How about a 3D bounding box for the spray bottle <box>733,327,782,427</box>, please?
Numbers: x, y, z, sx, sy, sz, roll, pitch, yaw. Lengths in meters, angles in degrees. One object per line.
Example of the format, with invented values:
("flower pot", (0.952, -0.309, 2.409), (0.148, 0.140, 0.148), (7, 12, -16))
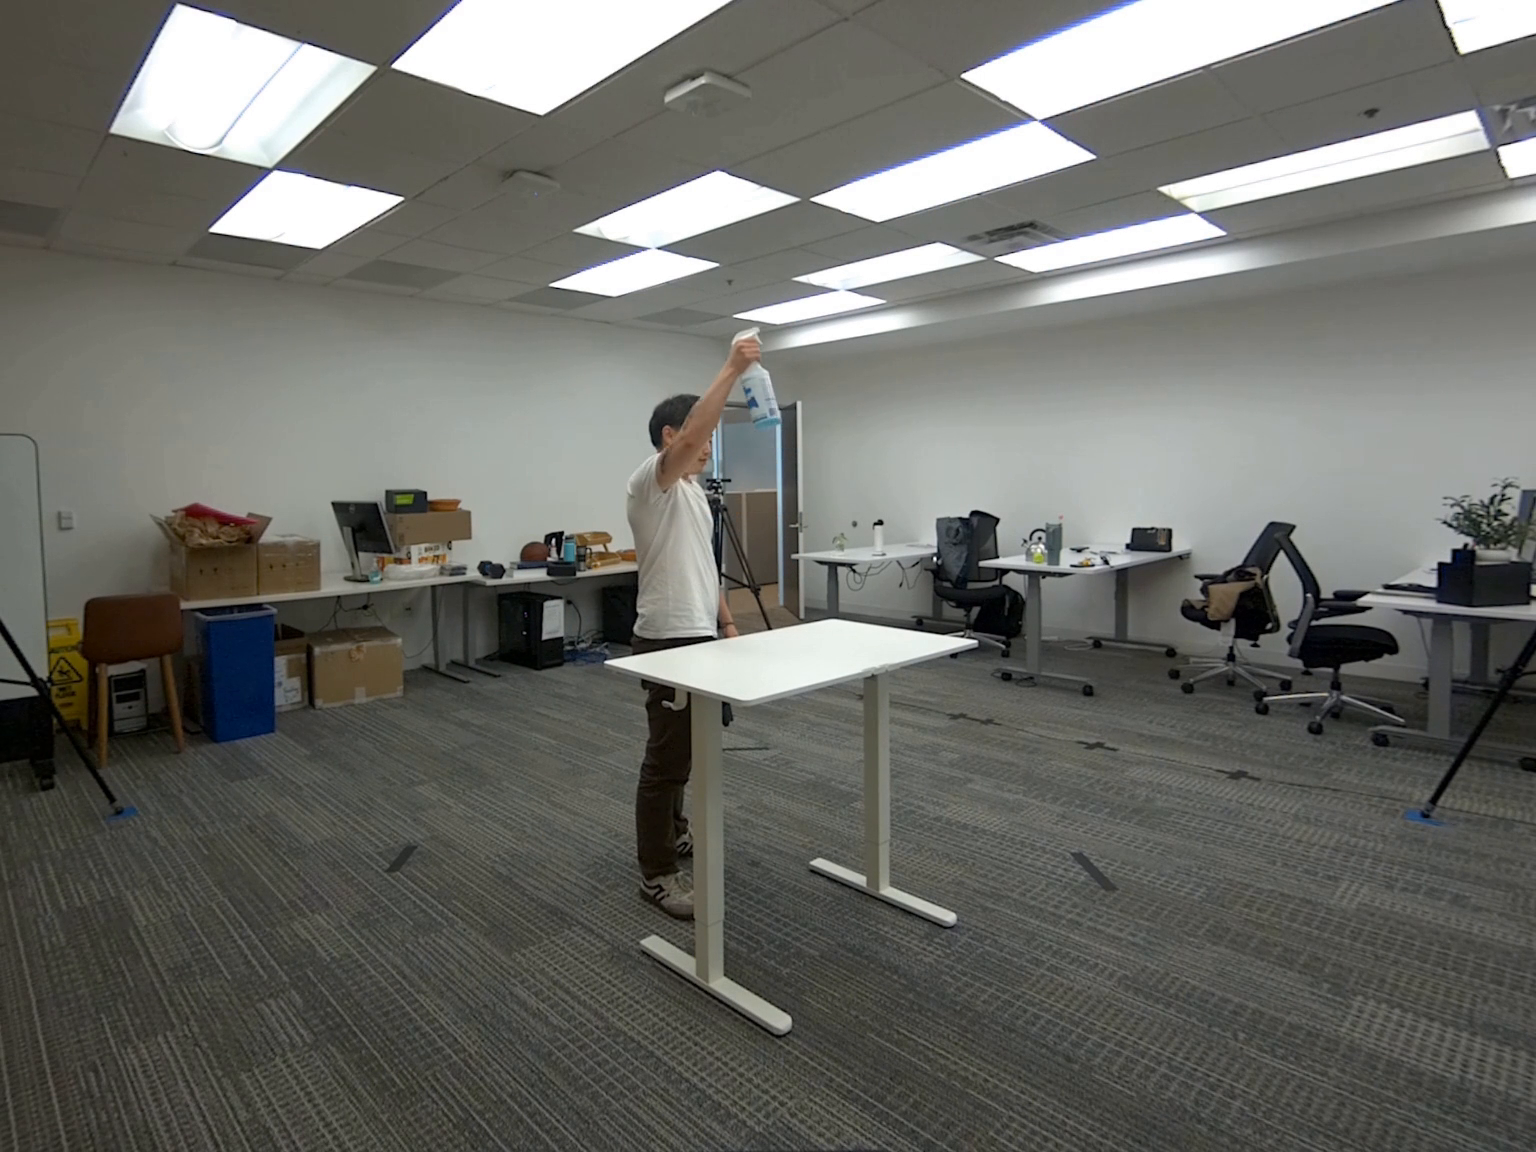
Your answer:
("spray bottle", (-0.038, -0.582, 2.547), (0.092, 0.297, 0.085), (-13, 0, 32))
